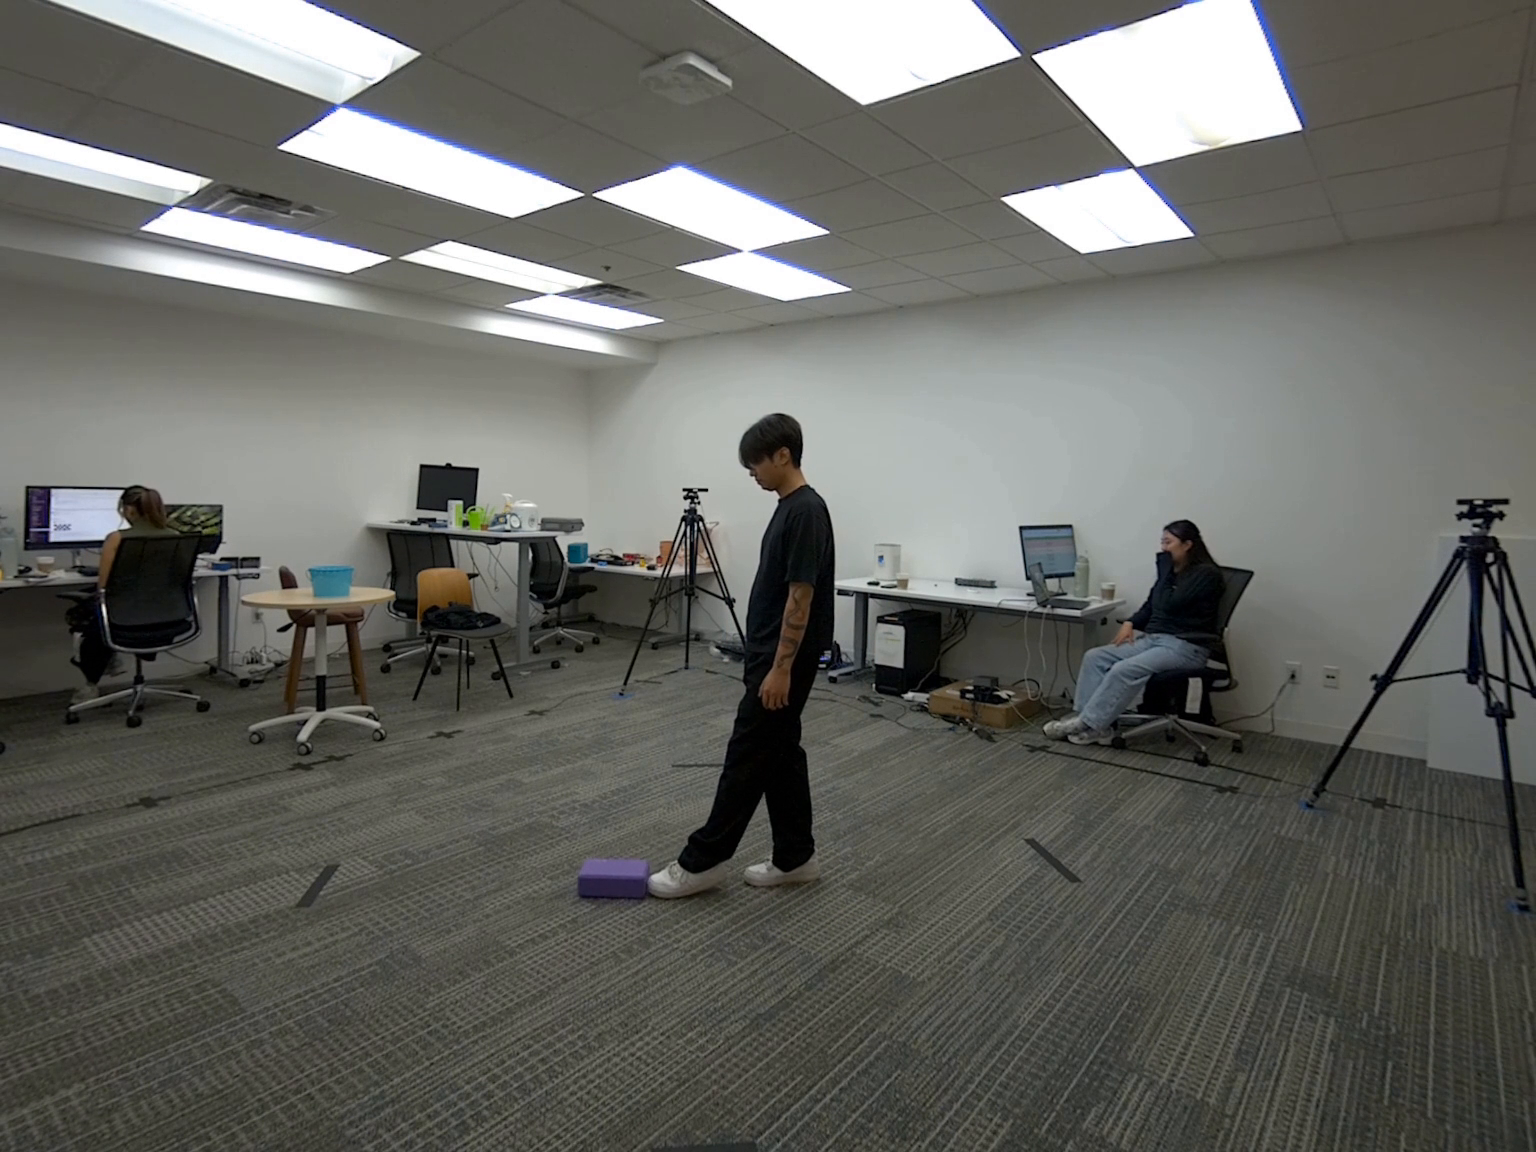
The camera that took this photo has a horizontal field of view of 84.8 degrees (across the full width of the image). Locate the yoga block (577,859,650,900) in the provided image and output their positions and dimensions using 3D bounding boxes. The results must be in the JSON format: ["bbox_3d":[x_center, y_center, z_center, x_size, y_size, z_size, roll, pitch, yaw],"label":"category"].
[{"bbox_3d":[-0.542,1.041,2.941,0.230,0.076,0.149,0,2,1],"label":"yoga block"}]
